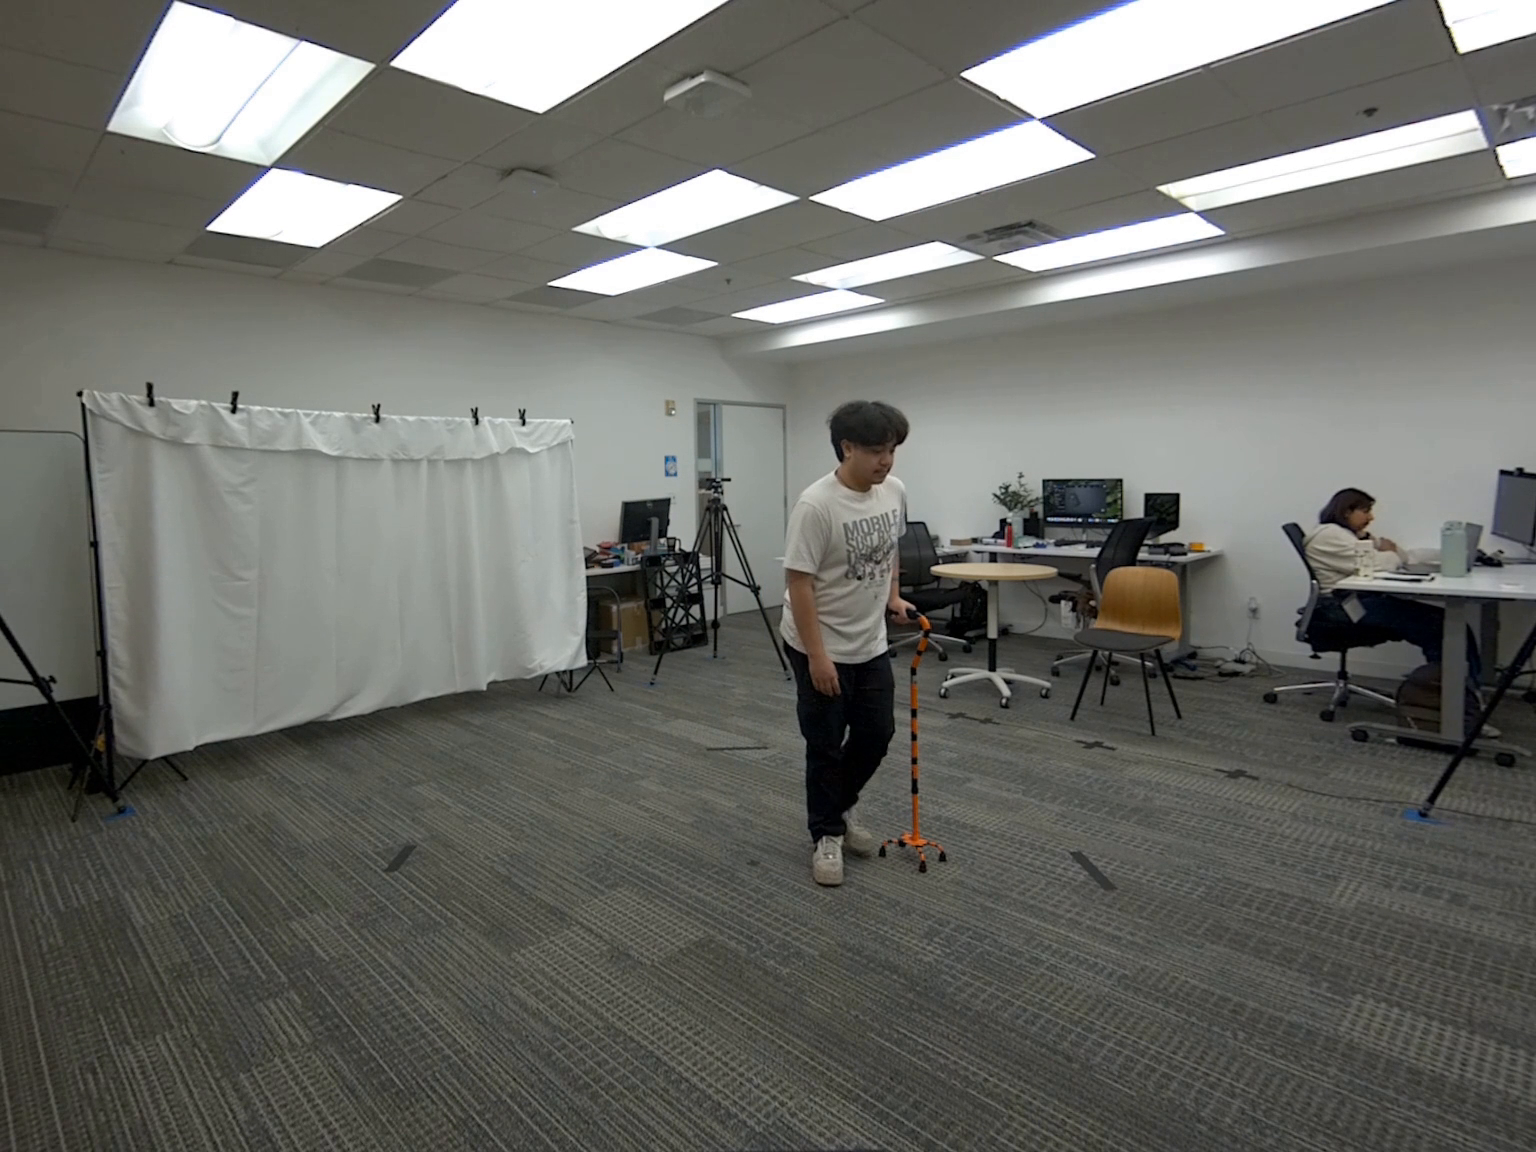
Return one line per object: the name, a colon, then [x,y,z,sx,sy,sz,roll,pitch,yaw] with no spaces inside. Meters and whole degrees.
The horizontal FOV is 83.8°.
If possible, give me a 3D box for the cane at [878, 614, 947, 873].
cane: [0.521,0.575,3.092,0.147,0.905,0.213,-3,5,-42]
